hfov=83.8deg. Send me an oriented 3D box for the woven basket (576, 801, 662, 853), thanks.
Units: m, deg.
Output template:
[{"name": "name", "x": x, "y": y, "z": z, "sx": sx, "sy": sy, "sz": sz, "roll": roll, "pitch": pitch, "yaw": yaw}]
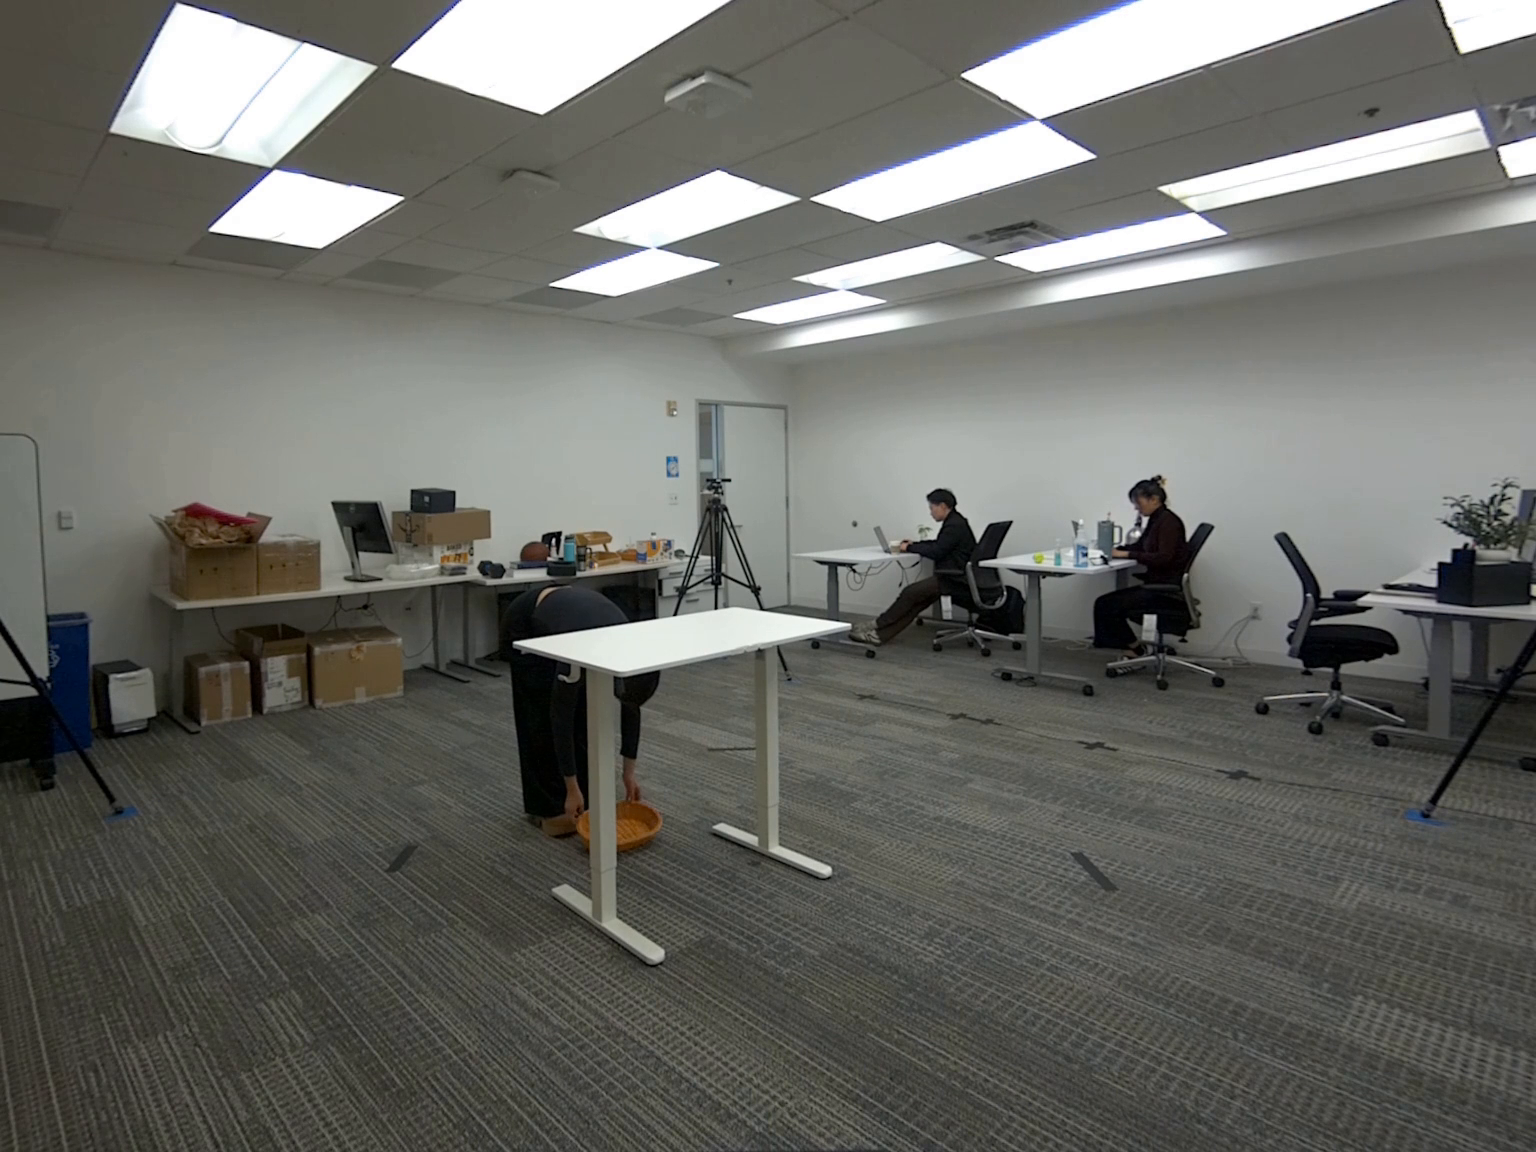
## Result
[{"name": "woven basket", "x": -0.574, "y": 0.967, "z": 3.299, "sx": 0.341, "sy": 0.072, "sz": 0.262, "roll": -6, "pitch": 21, "yaw": -40}]
